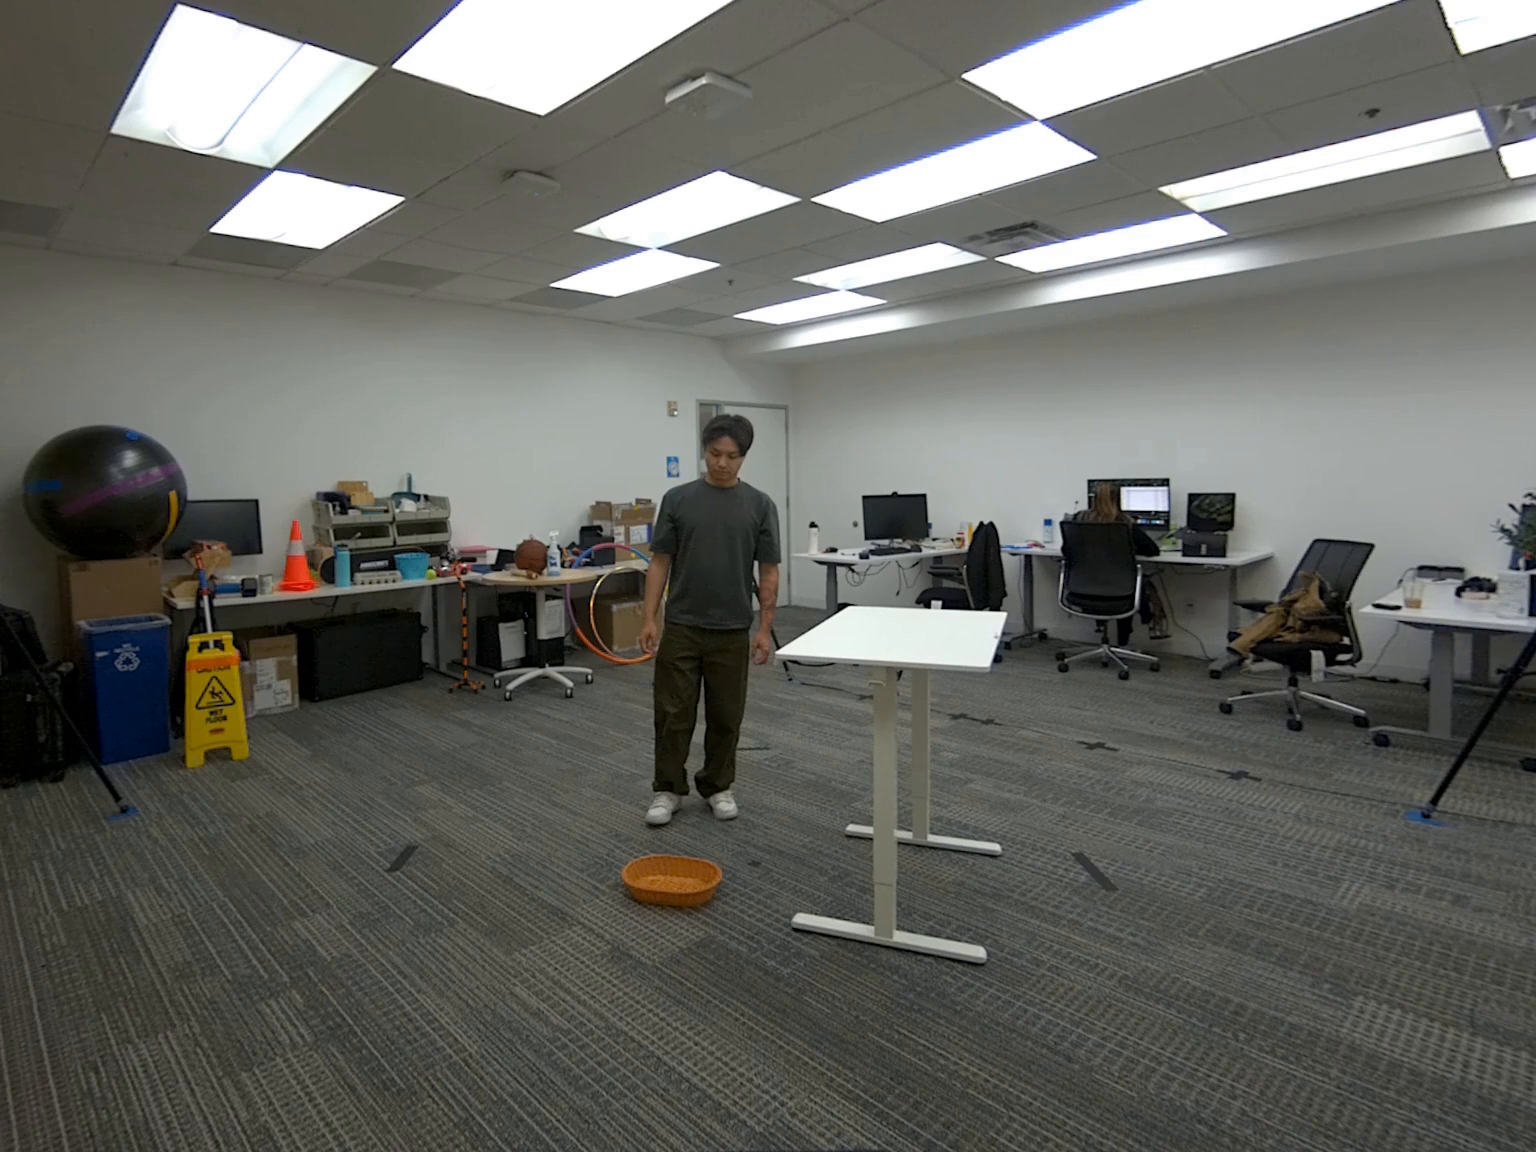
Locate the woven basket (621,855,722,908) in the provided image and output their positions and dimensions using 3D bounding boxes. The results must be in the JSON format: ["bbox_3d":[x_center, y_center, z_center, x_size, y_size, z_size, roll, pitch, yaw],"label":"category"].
[{"bbox_3d":[-0.327,1.040,2.896,0.357,0.073,0.249,1,7,18],"label":"woven basket"}]
